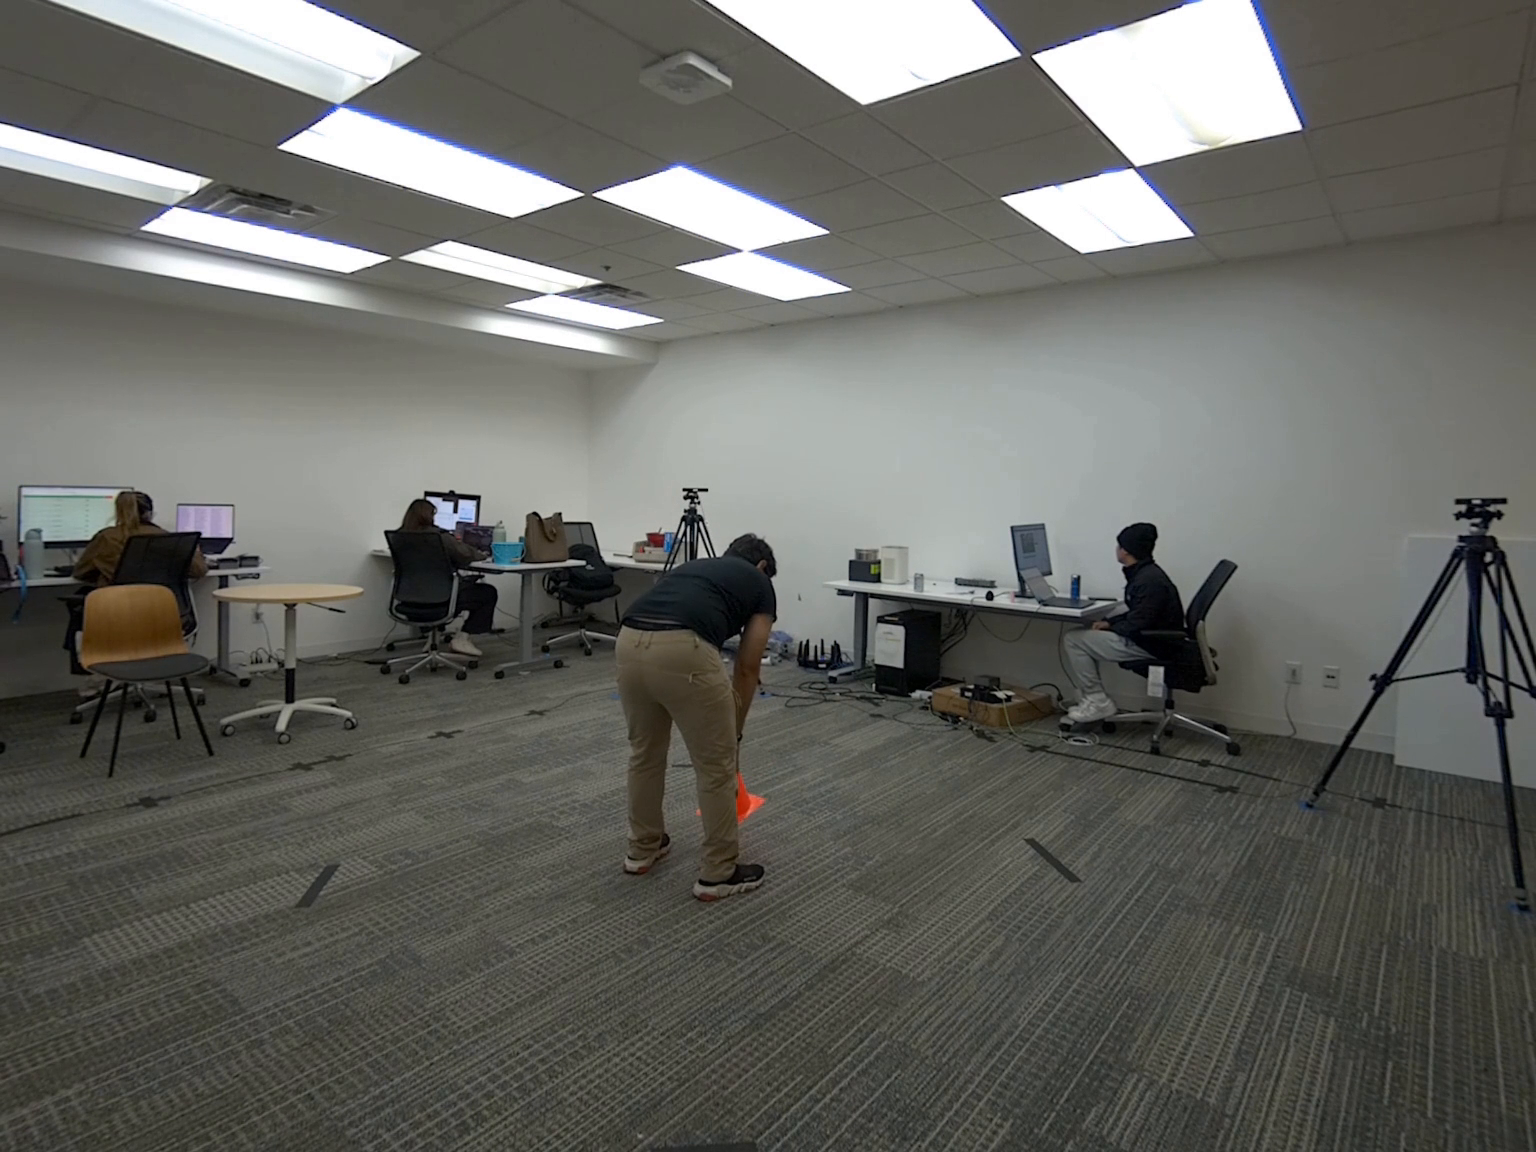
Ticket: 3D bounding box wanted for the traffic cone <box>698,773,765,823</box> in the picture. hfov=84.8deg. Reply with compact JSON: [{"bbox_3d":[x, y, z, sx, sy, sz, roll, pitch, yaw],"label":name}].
[{"bbox_3d":[-0.179,0.696,3.226,0.212,0.378,0.199,9,21,43],"label":"traffic cone"}]
